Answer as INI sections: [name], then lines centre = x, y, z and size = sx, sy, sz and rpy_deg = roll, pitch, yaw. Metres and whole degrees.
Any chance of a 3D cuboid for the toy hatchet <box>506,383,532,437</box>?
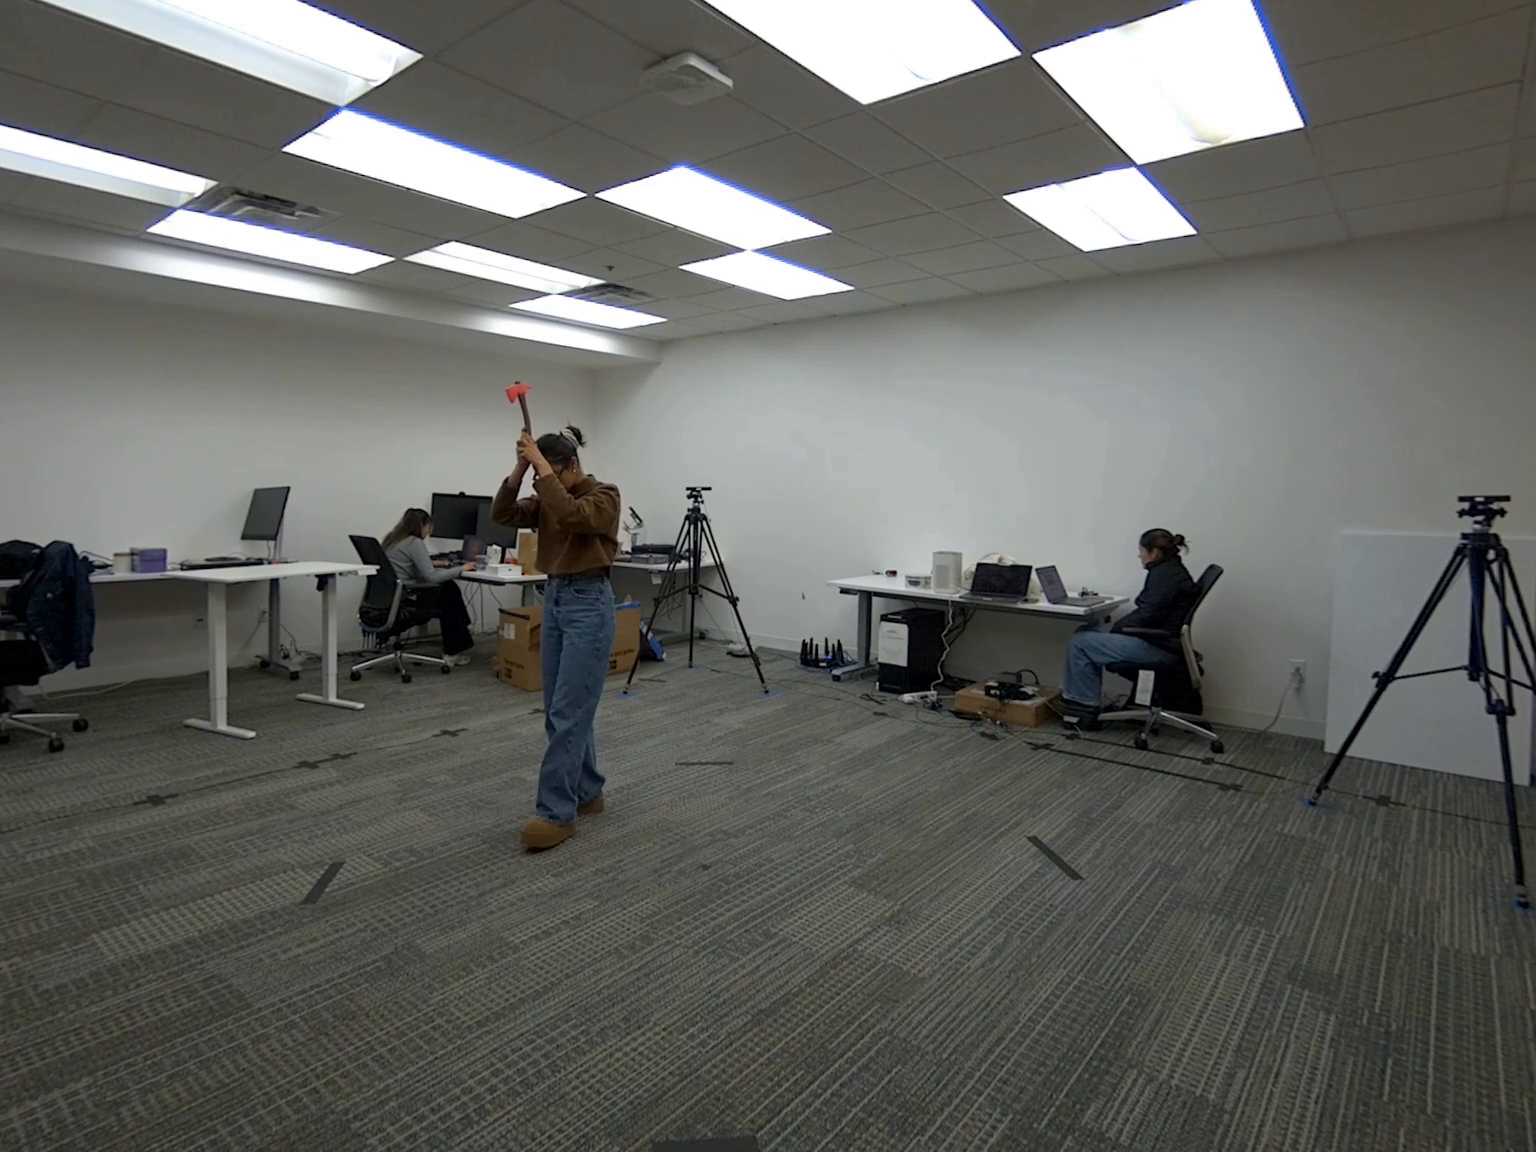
[toy hatchet]
centre = -0.994, -0.641, 3.342
size = 0.030, 0.272, 0.127
rpy_deg = -9, -10, 32
